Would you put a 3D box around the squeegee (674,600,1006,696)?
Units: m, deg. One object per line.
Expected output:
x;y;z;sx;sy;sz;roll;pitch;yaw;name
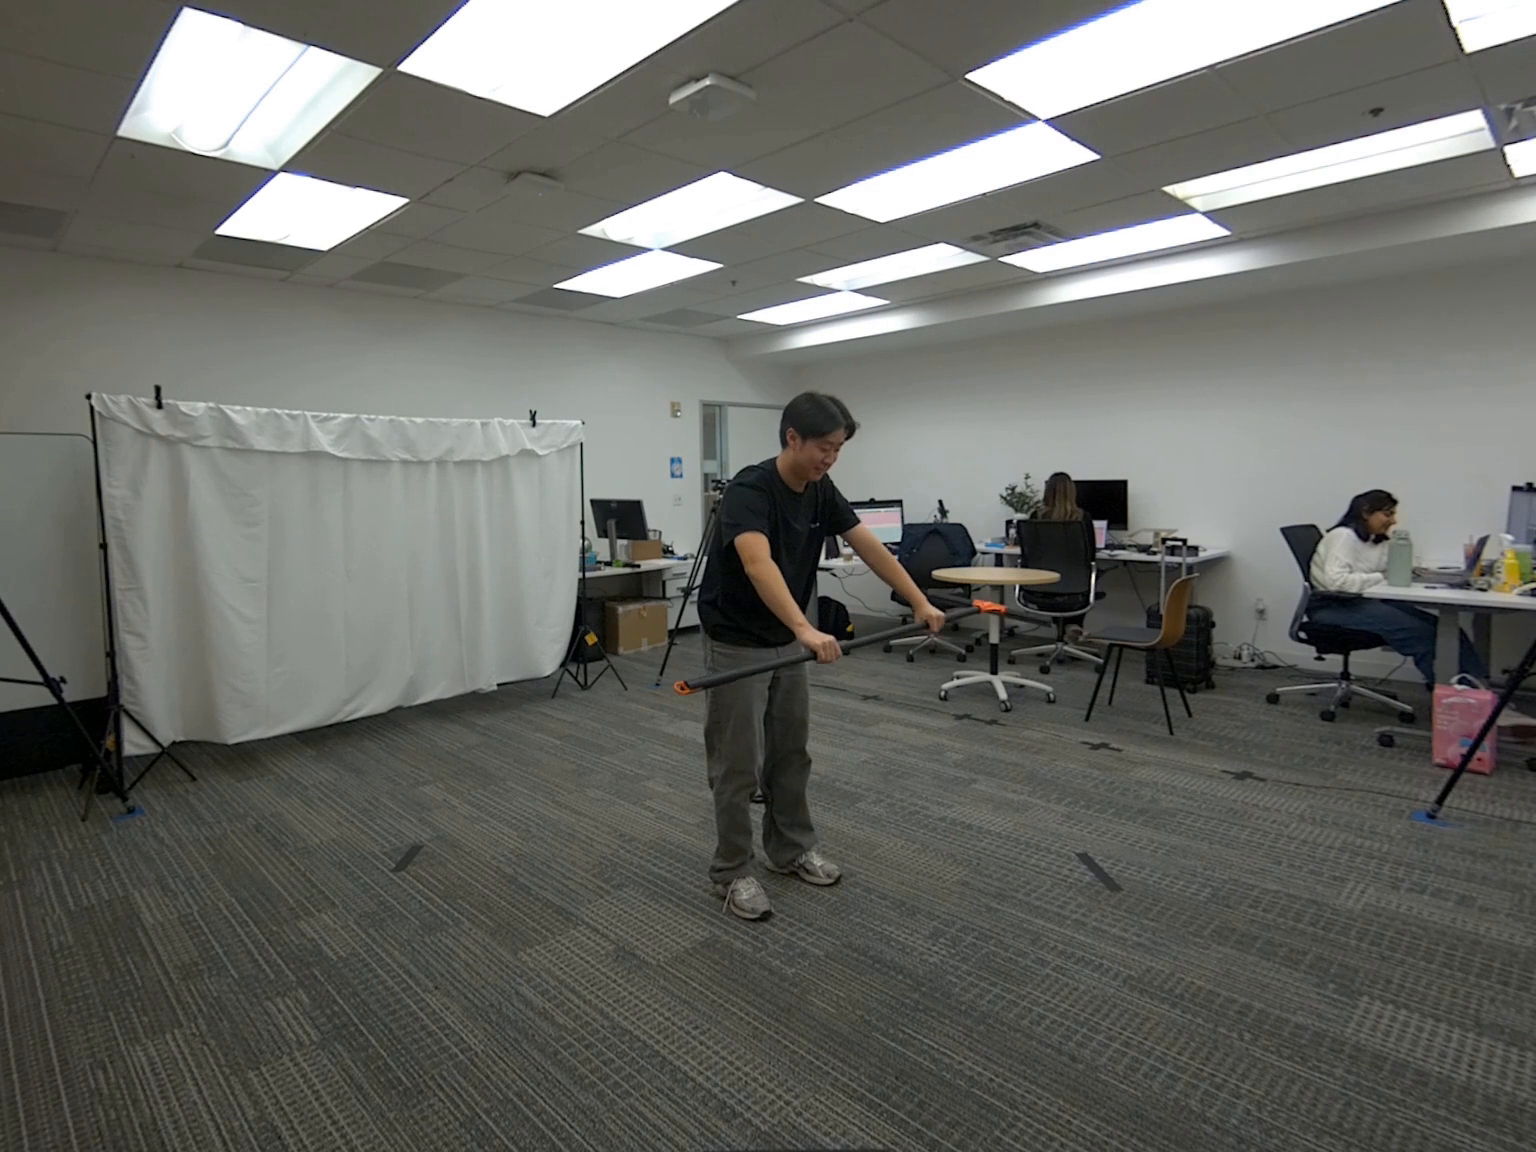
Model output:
0.269;0.184;2.526;0.452;0.052;1.498;13;15;43;squeegee
